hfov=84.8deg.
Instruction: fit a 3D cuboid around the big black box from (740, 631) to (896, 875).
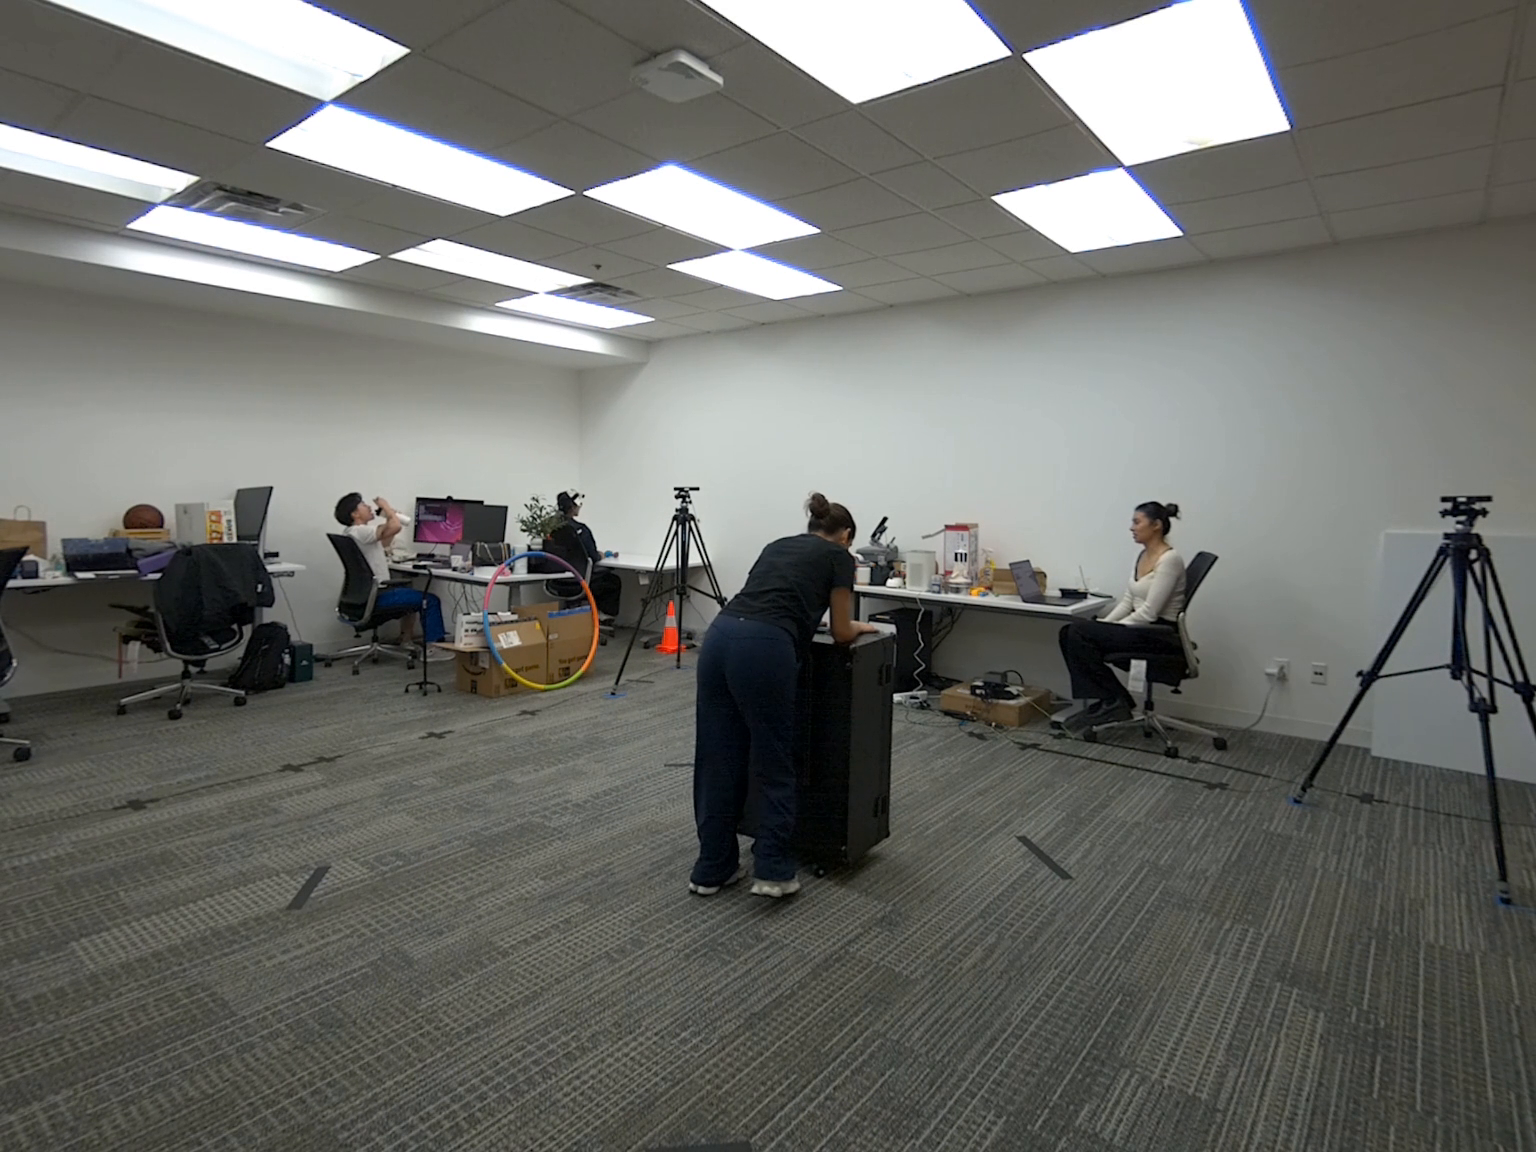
[{"bbox_3d":[0.191,0.583,3.241,0.538,0.859,0.384,4,3,35],"label":"big black box"}]
